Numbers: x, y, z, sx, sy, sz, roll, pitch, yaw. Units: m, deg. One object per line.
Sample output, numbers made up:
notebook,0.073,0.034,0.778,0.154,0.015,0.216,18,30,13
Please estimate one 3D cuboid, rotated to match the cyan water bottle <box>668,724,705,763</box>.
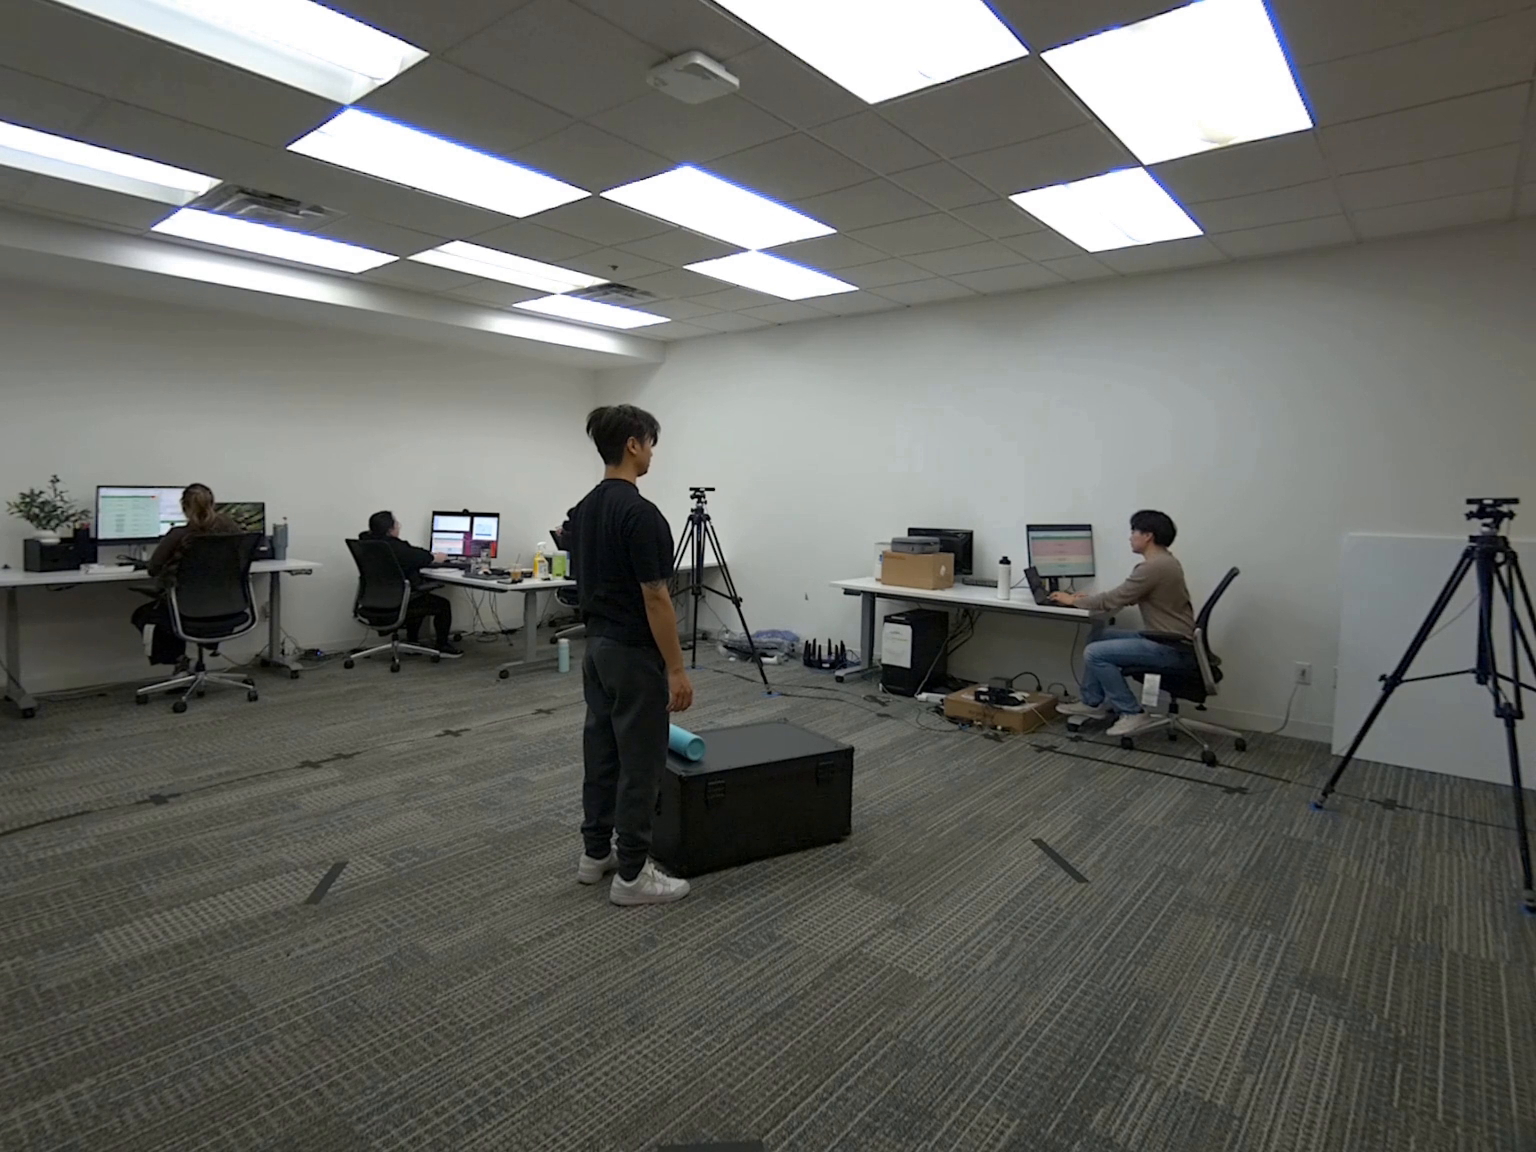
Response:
cyan water bottle,-0.355,0.626,3.271,0.090,0.092,0.292,-2,5,-34
